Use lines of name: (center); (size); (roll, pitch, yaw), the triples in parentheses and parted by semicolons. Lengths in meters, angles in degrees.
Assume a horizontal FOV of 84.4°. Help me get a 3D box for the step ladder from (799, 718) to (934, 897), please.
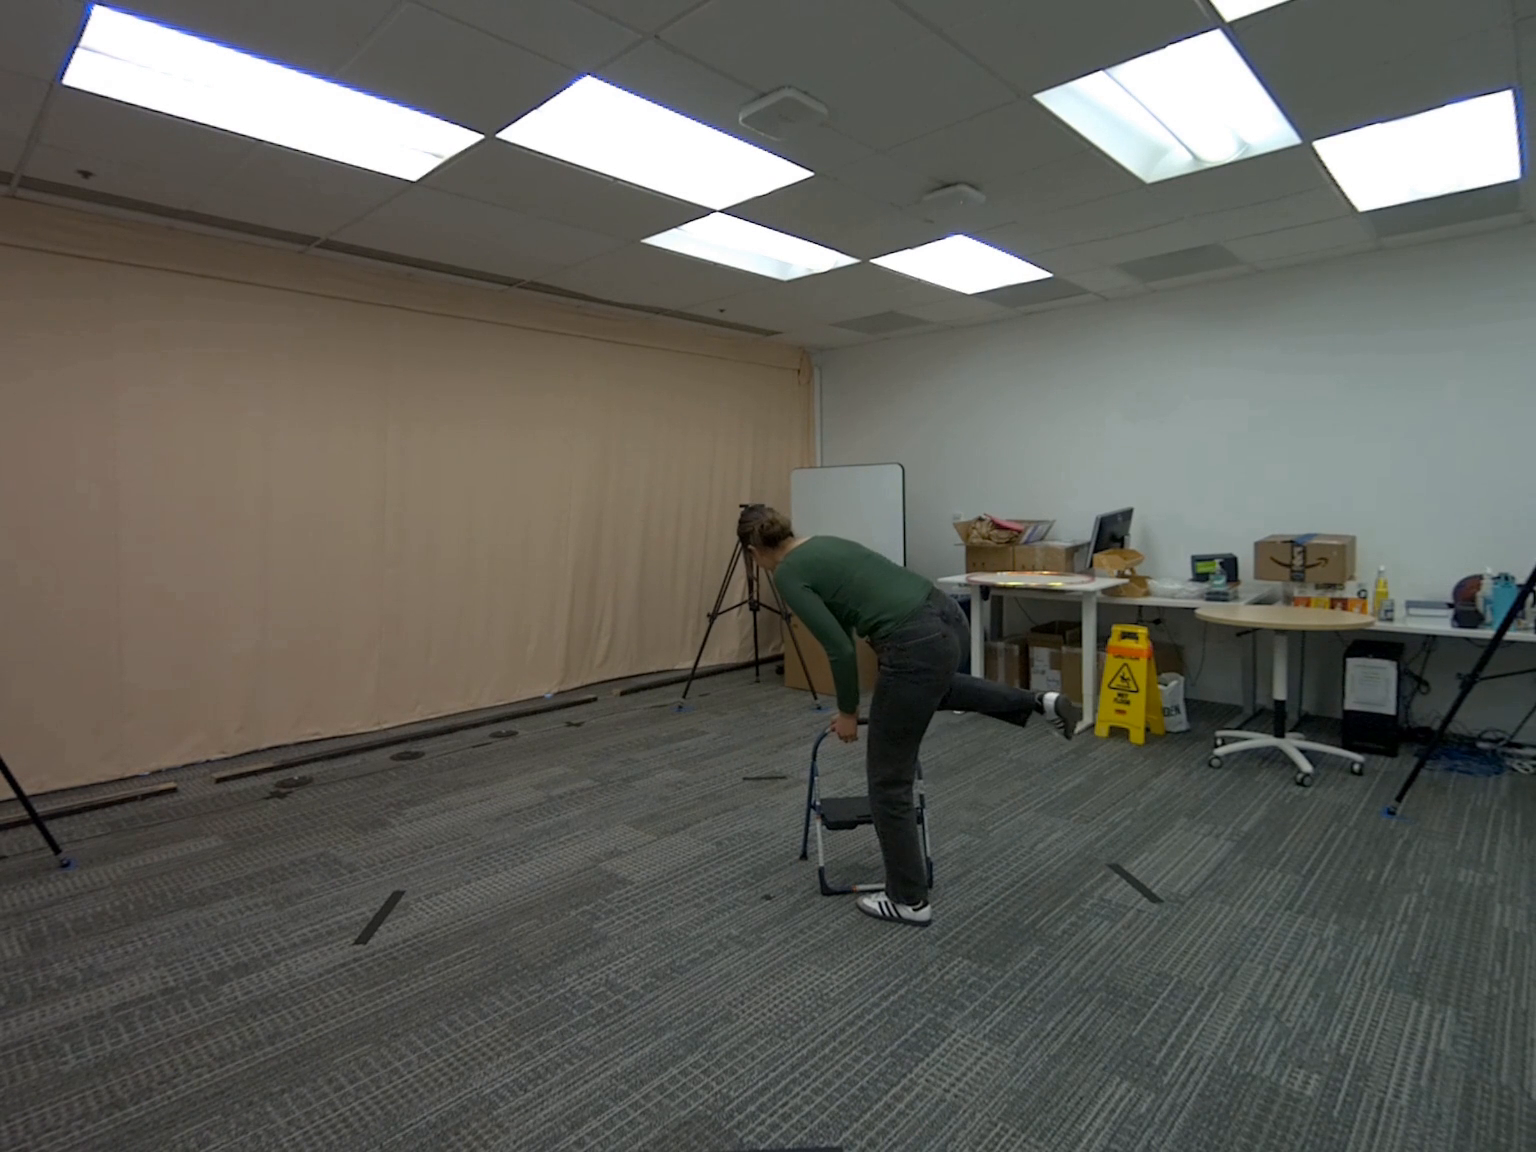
step ladder: (0.360, 0.817, 3.152); (0.427, 0.605, 0.353); (-2, 4, -8)
